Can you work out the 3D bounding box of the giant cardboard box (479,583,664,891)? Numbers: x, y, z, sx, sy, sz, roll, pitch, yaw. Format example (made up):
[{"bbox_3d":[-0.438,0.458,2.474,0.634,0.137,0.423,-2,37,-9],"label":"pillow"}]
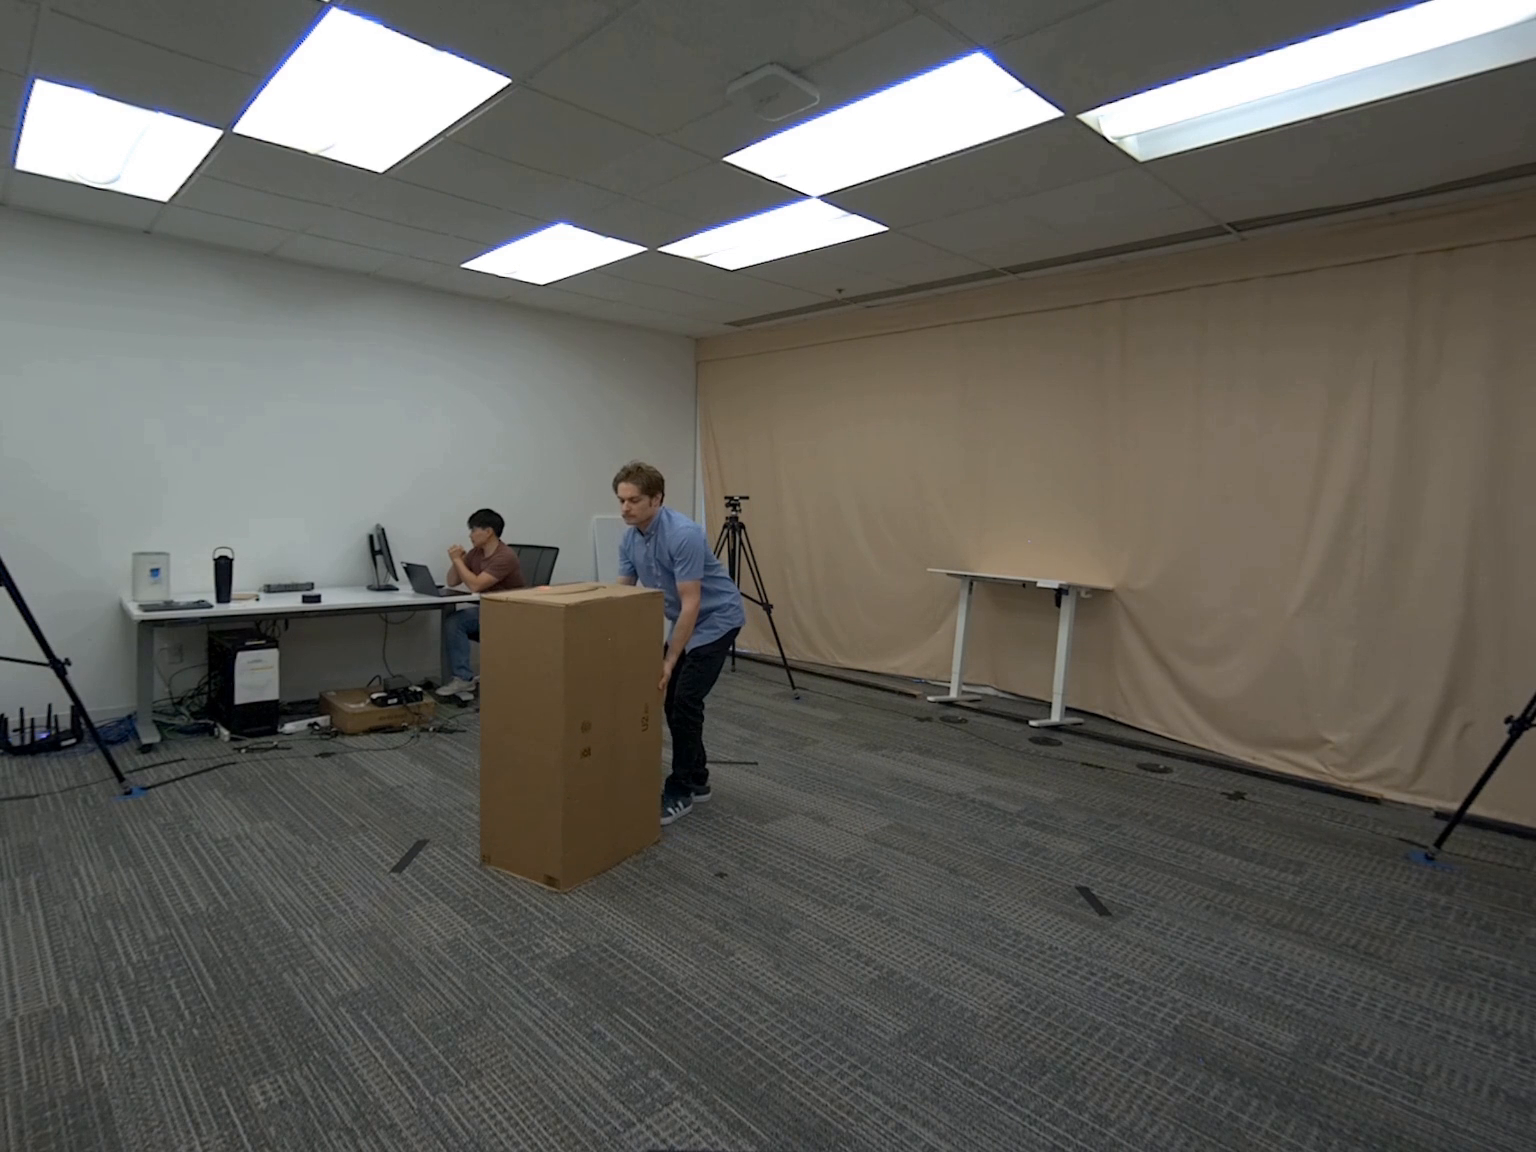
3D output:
[{"bbox_3d":[-0.755,0.569,3.240,0.436,1.023,0.566,4,5,31],"label":"giant cardboard box"}]
